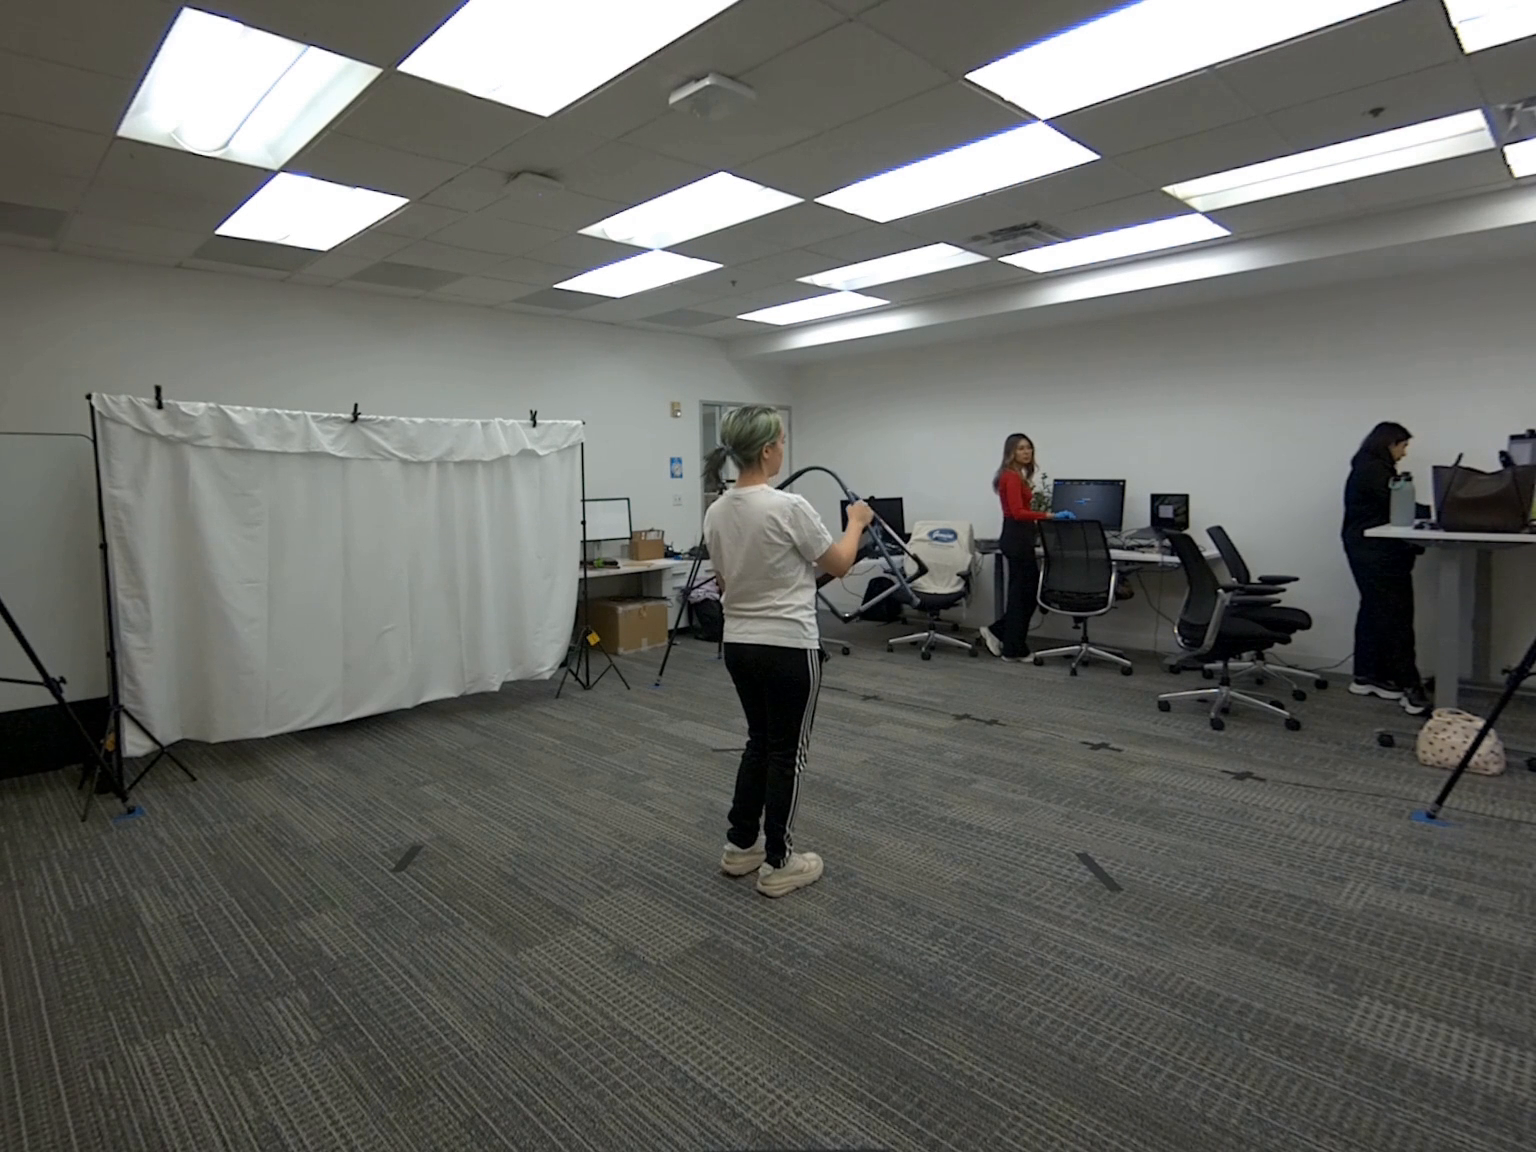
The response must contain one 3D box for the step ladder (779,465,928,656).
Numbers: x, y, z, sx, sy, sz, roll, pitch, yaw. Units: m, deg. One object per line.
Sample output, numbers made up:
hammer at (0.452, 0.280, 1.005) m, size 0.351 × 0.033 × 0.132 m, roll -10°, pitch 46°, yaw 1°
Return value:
step ladder at (0.235, -0.093, 3.171) m, size 0.433 × 0.604 × 0.348 m, roll -36°, pitch 3°, yaw 27°
